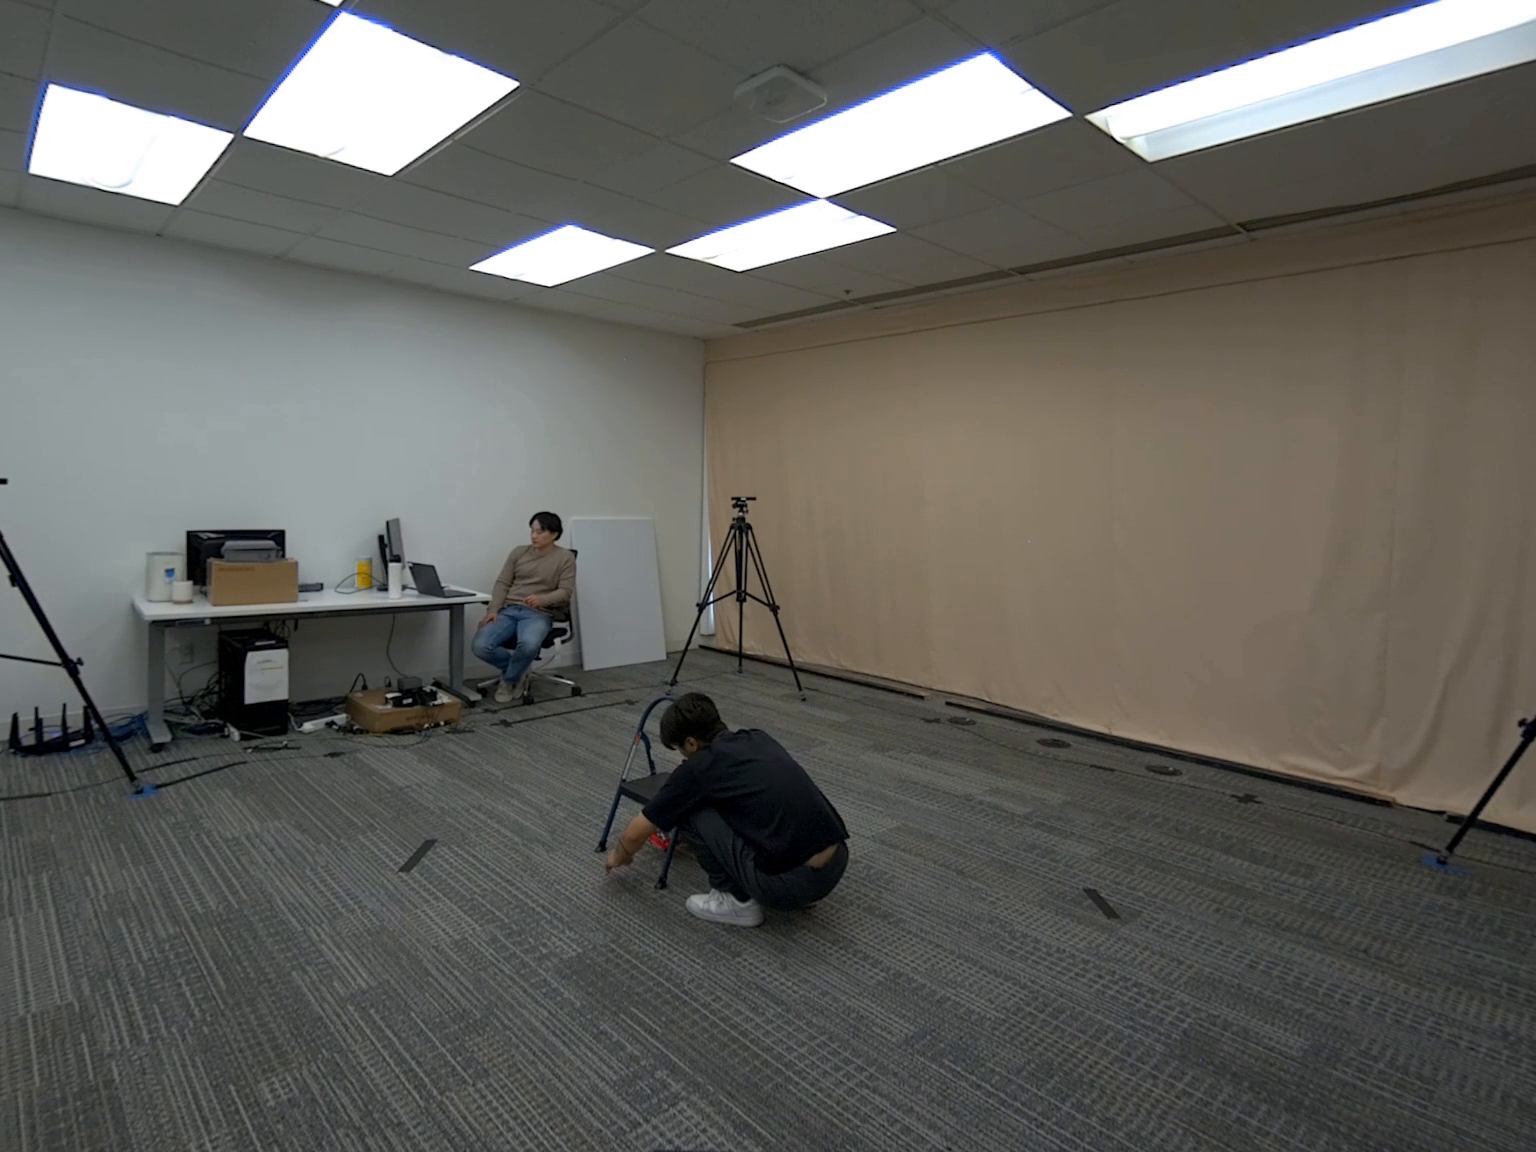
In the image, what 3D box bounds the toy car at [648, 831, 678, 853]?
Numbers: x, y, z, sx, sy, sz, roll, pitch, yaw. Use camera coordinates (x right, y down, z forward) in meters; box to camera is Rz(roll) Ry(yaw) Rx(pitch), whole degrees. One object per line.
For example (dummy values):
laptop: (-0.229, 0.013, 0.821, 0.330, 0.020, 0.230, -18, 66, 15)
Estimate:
toy car: (-0.352, 1.024, 3.313, 0.134, 0.082, 0.250, 14, 23, 39)
